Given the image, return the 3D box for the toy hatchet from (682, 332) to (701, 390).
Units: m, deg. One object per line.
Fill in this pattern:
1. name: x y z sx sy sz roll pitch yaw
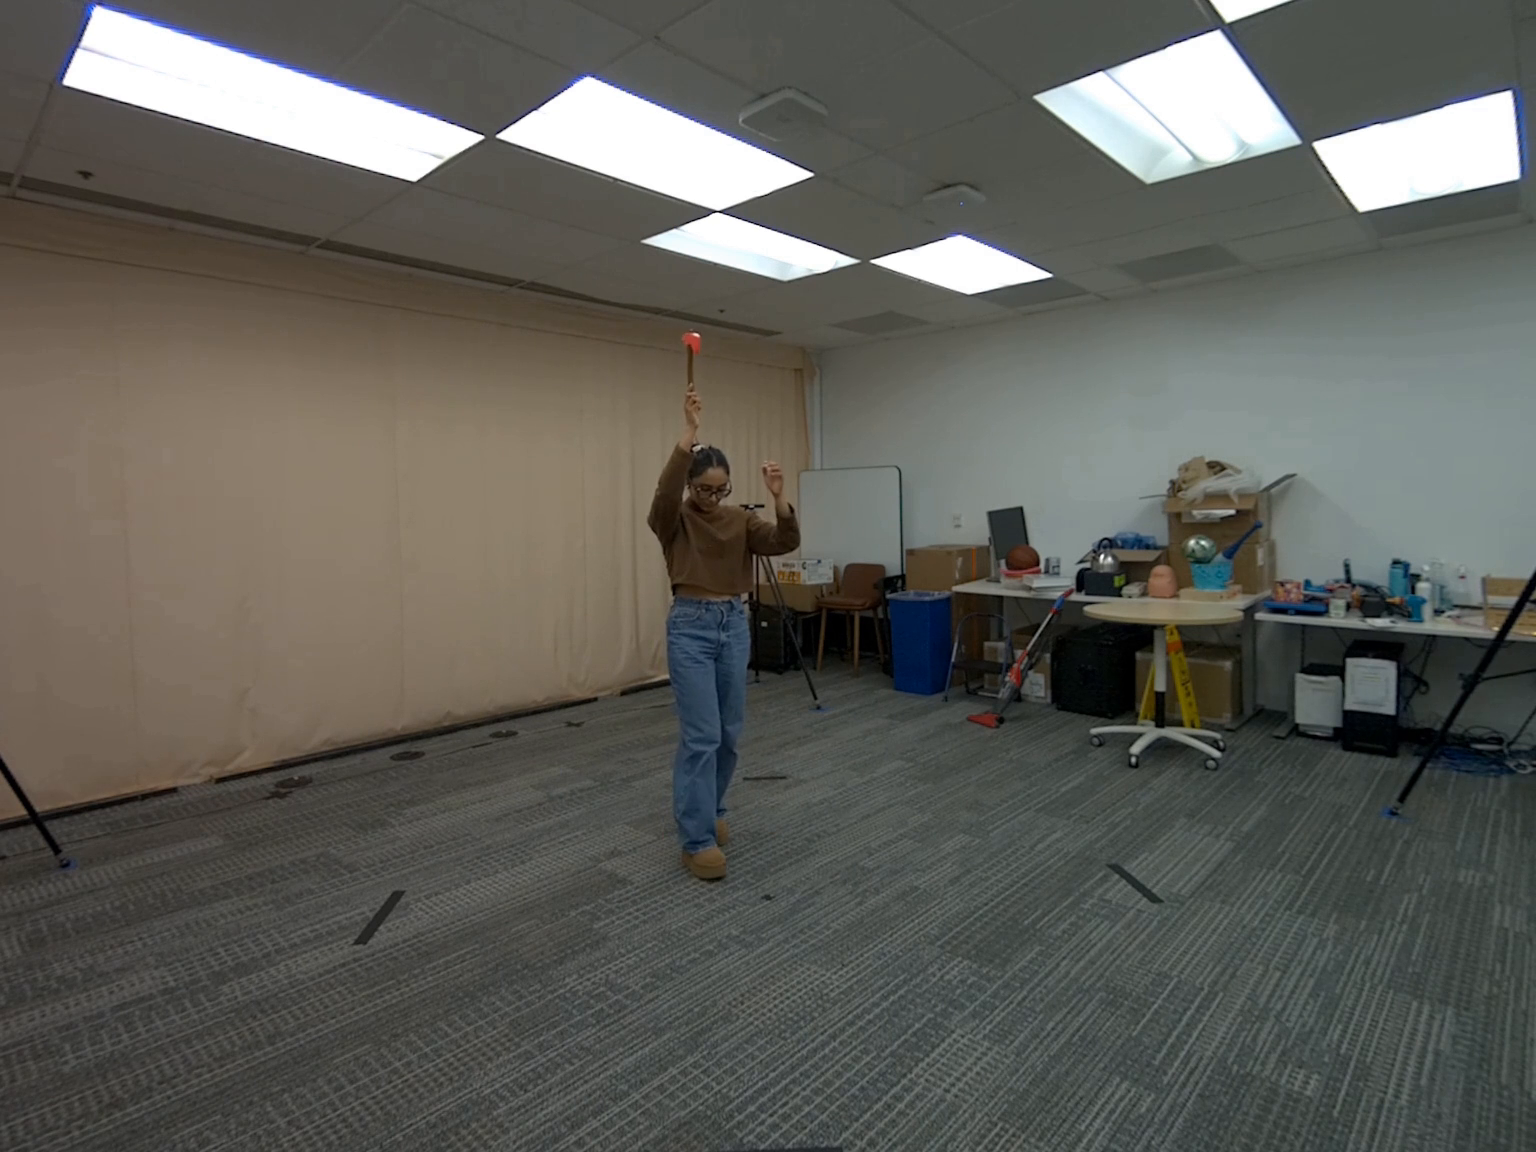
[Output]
1. toy hatchet: -0.249 -0.736 2.994 0.029 0.270 0.134 -7 -2 -30
